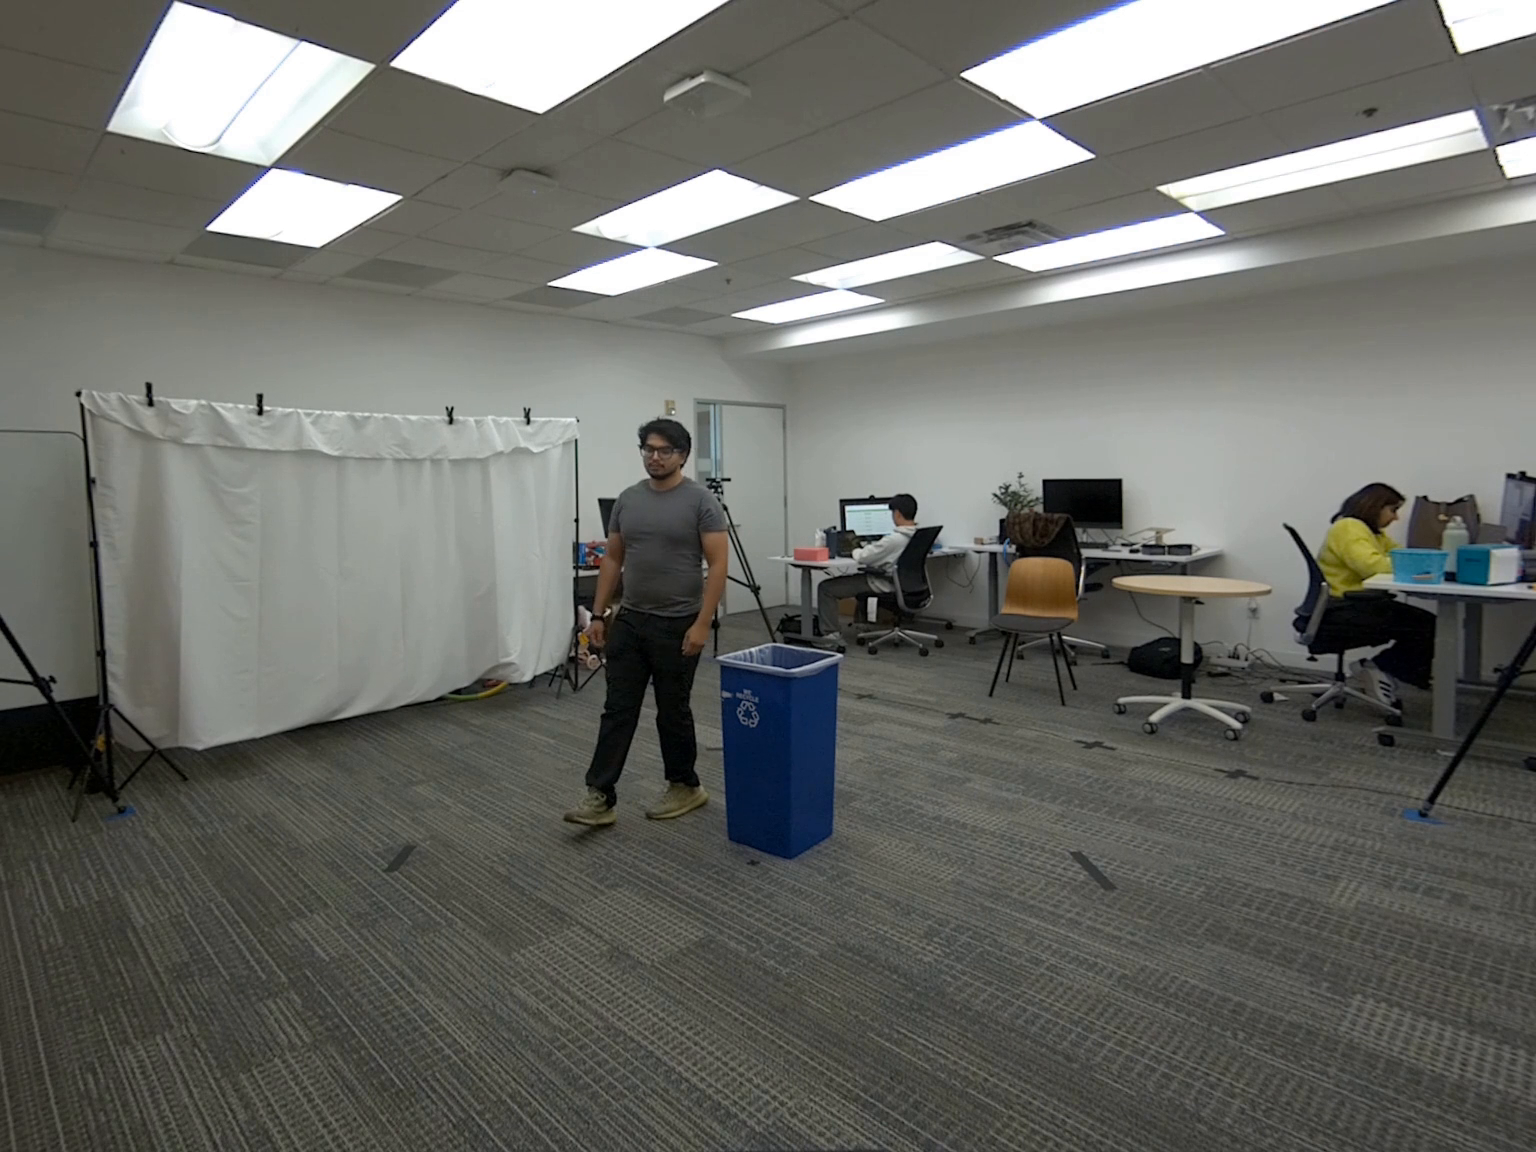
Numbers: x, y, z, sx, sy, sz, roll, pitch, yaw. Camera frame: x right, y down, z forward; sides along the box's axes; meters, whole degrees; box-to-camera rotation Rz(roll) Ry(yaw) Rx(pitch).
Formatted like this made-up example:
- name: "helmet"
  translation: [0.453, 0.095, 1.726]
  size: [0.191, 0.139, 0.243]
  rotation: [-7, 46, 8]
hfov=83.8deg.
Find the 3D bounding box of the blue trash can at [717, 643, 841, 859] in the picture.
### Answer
- name: "blue trash can"
  translation: [0.055, 0.661, 3.301]
  size: [0.385, 0.711, 0.368]
  rotation: [2, 5, 38]
